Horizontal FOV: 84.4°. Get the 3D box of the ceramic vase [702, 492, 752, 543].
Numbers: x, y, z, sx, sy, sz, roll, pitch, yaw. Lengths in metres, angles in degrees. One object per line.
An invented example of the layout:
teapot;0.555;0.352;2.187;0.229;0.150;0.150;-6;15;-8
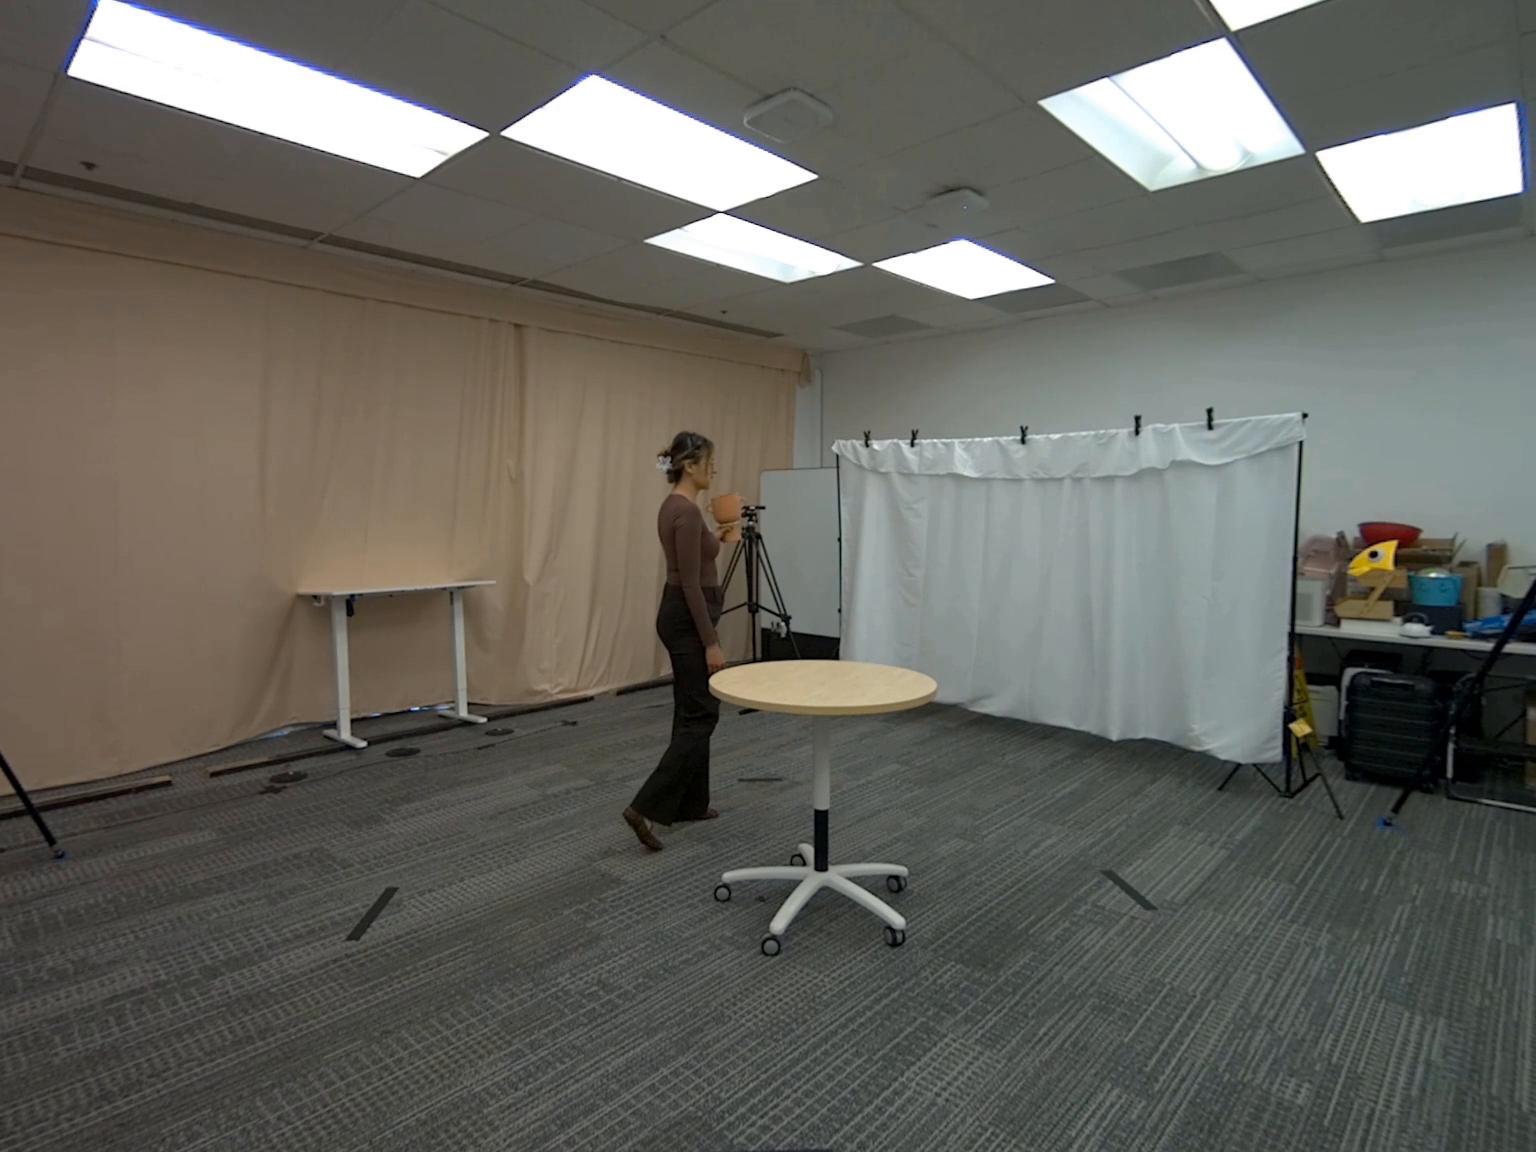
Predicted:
ceramic vase;-0.197;-0.277;3.998;0.164;0.219;0.131;-1;9;41
